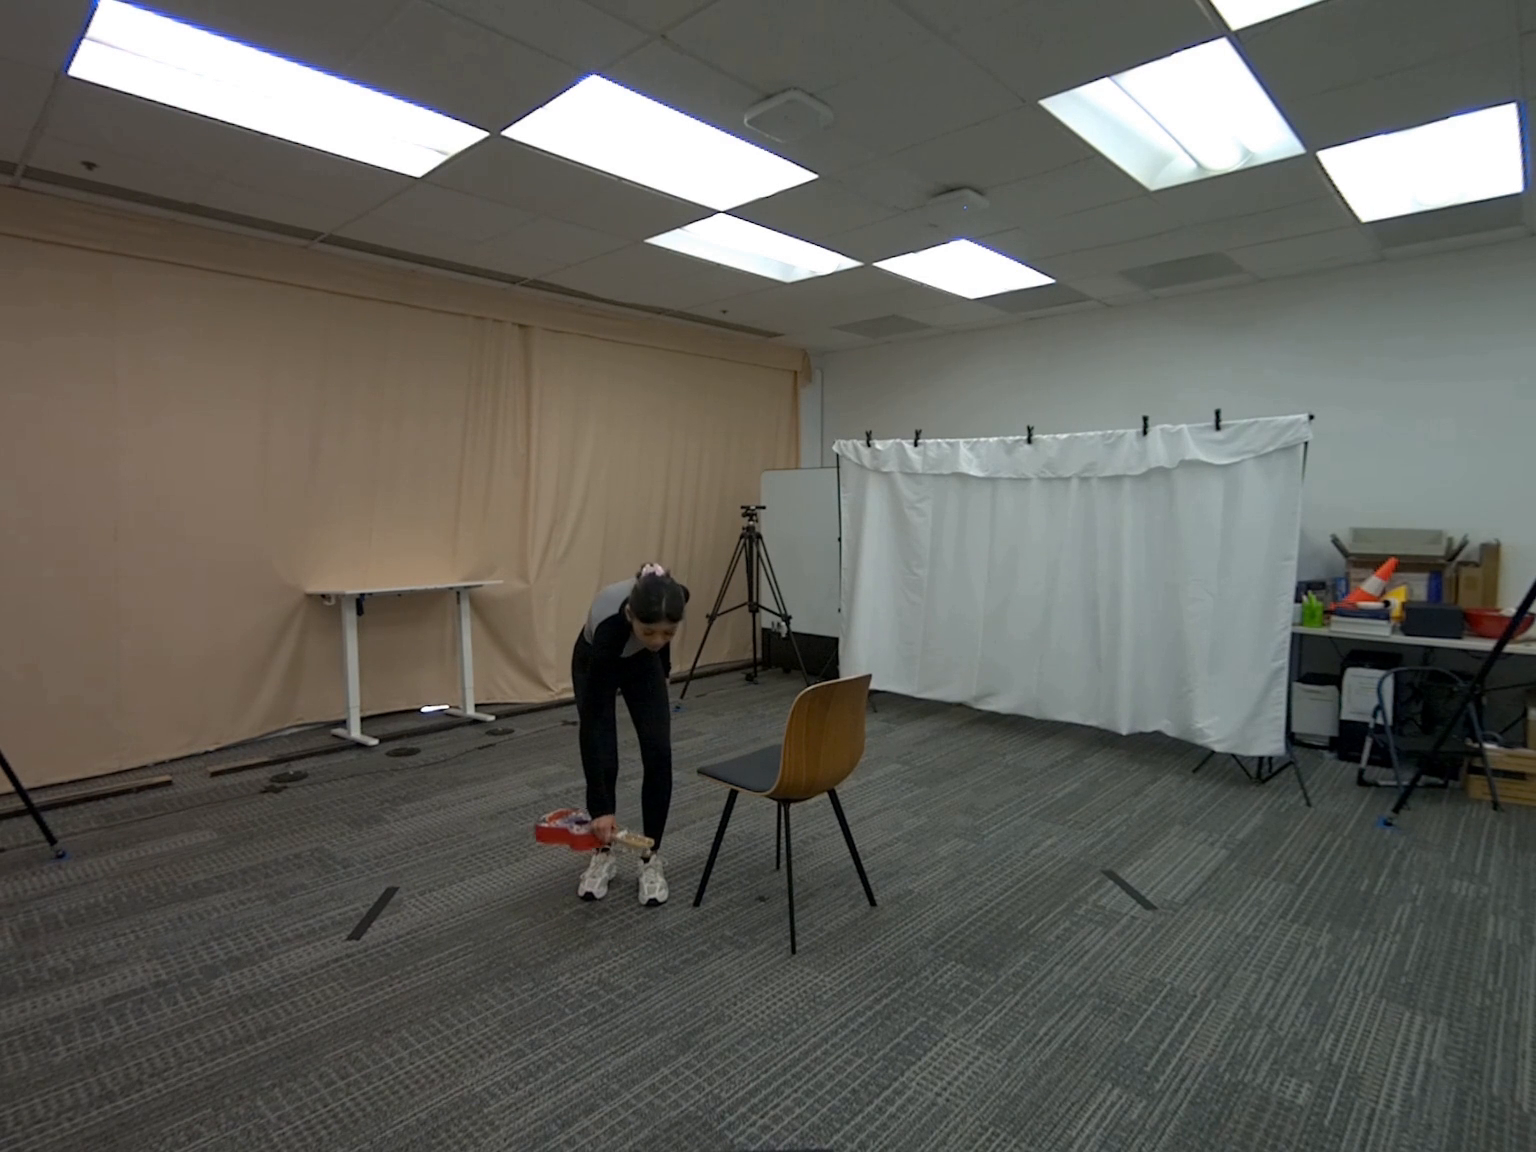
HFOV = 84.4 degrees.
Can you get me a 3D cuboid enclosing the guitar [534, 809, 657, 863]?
[{"bbox_3d":[-0.578,0.851,2.739,0.187,0.070,0.514,-9,8,-43],"label":"guitar"}]
